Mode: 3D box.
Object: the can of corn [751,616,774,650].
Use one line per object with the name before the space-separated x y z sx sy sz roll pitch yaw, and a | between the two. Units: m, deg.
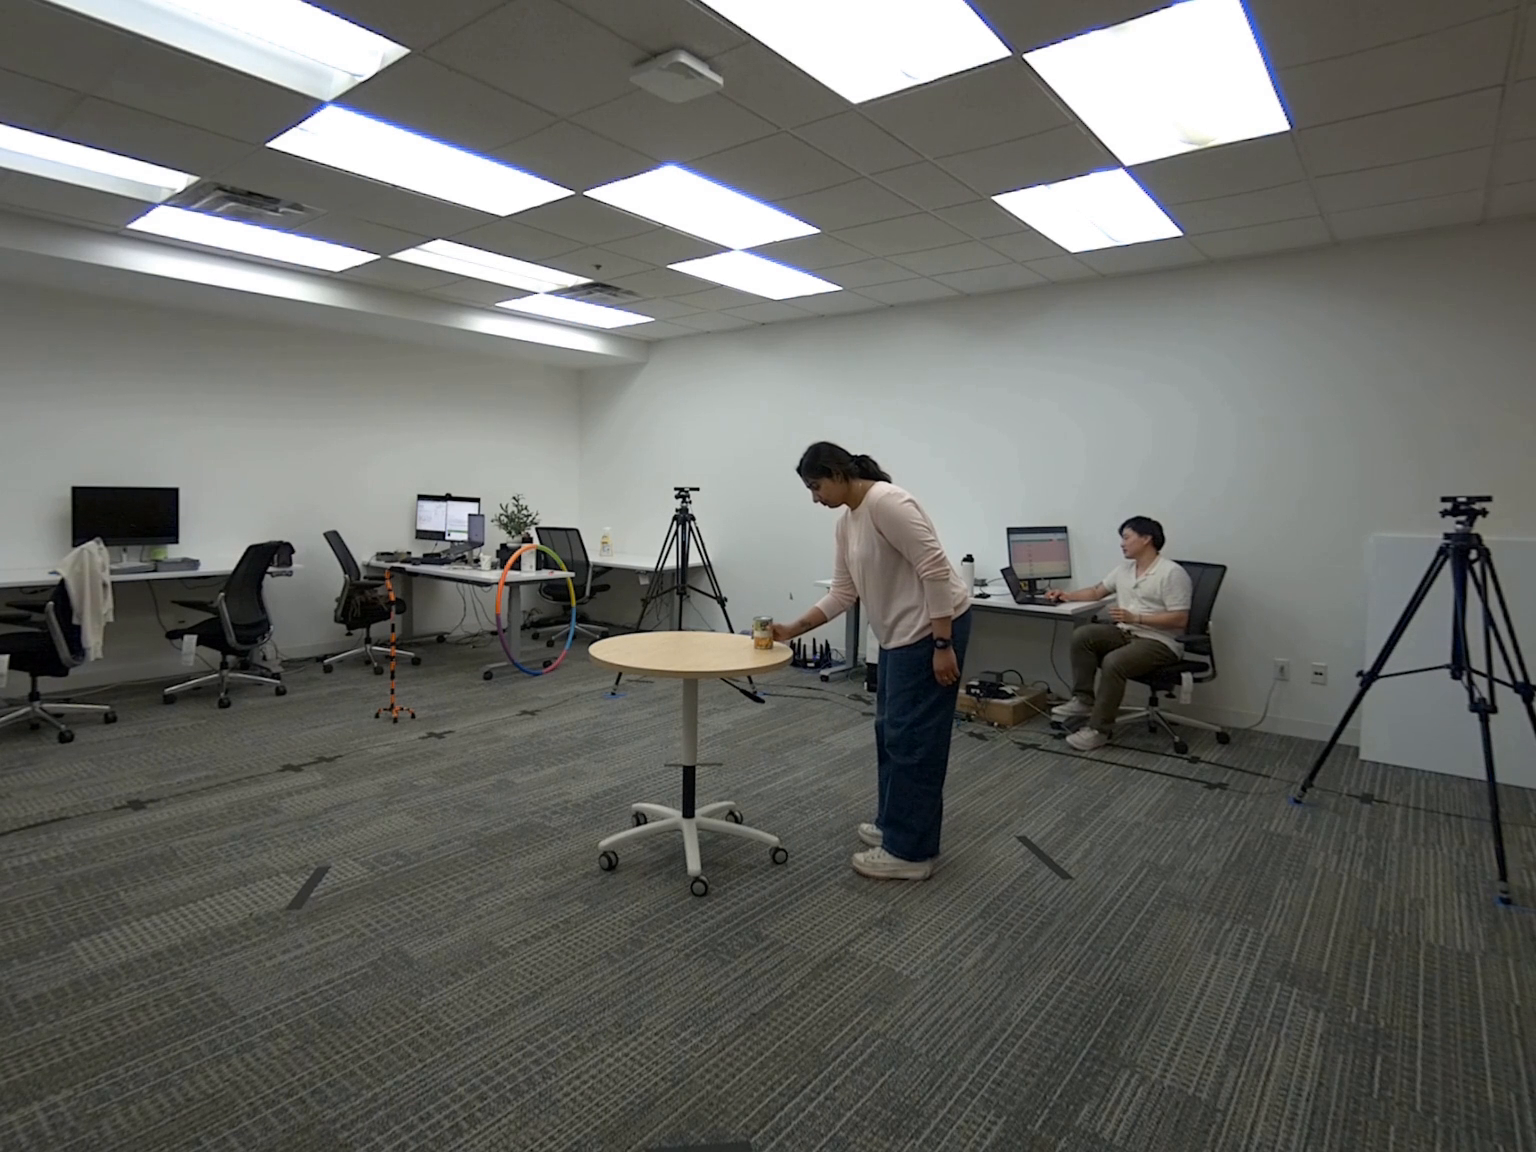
can of corn | -0.024 0.216 3.261 0.074 0.111 0.074 0 2 -2
